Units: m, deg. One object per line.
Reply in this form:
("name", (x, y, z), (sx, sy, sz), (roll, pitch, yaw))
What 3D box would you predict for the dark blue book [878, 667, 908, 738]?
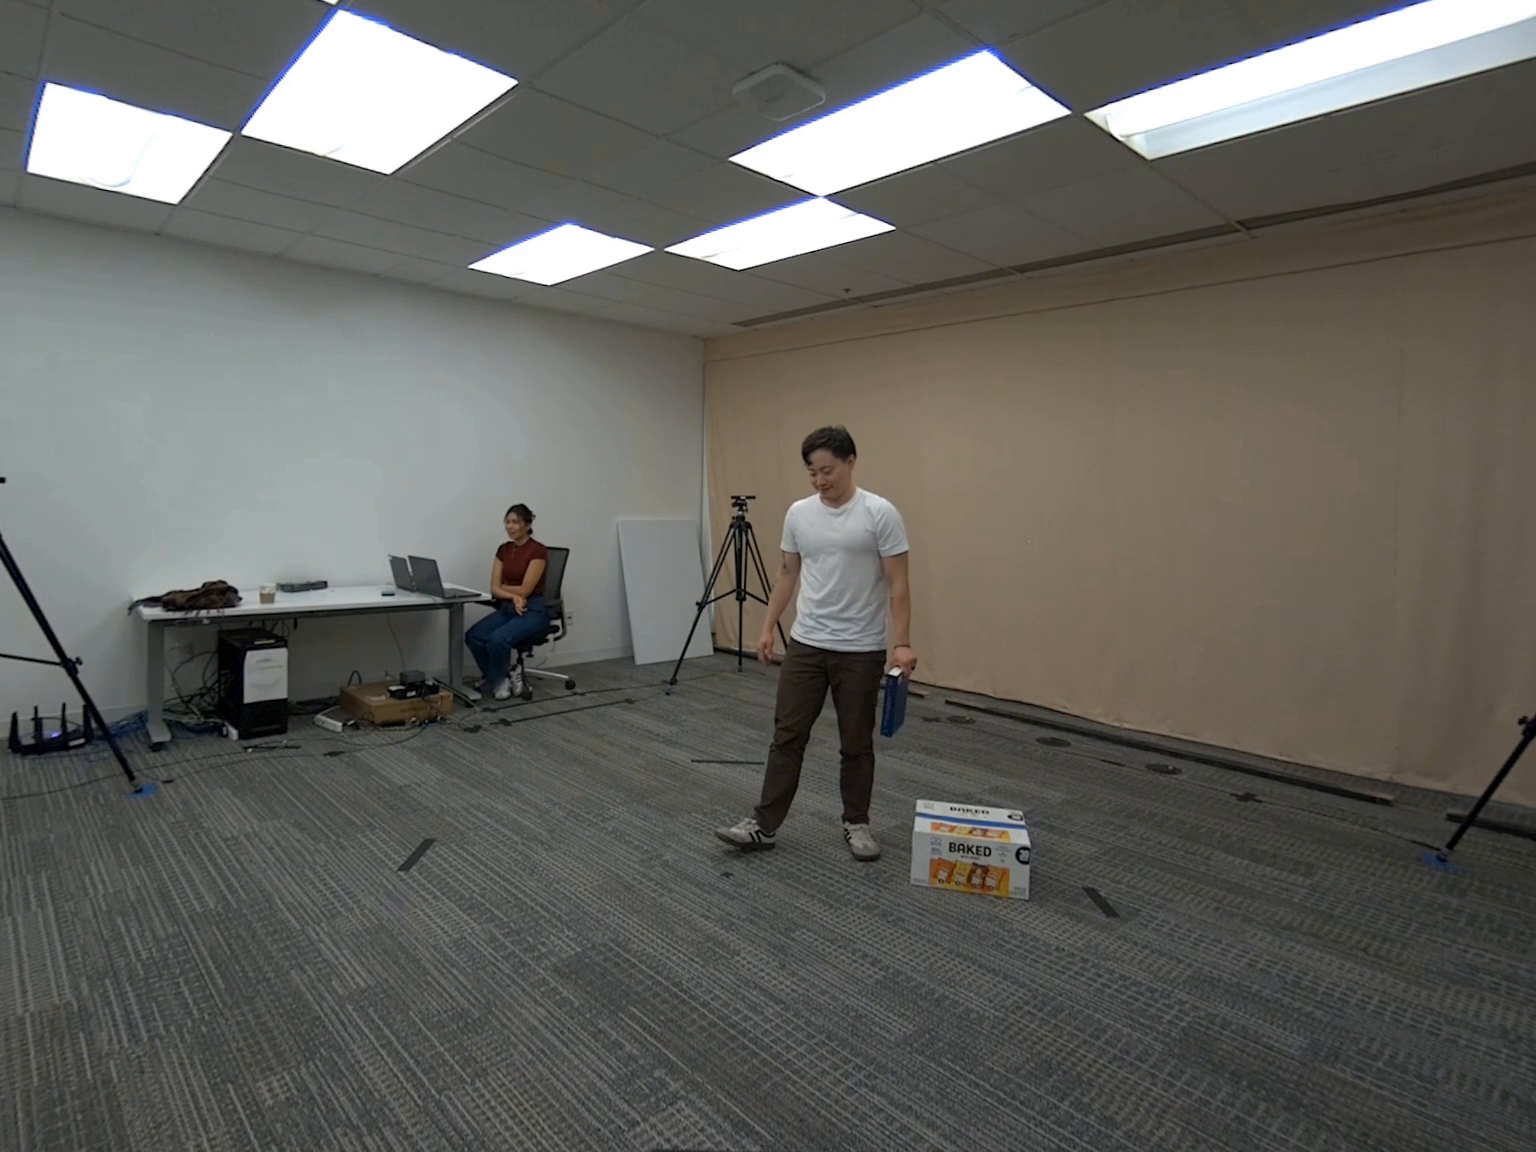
("dark blue book", (0.465, 0.459, 3.145), (0.046, 0.243, 0.162), (9, 15, 22))
